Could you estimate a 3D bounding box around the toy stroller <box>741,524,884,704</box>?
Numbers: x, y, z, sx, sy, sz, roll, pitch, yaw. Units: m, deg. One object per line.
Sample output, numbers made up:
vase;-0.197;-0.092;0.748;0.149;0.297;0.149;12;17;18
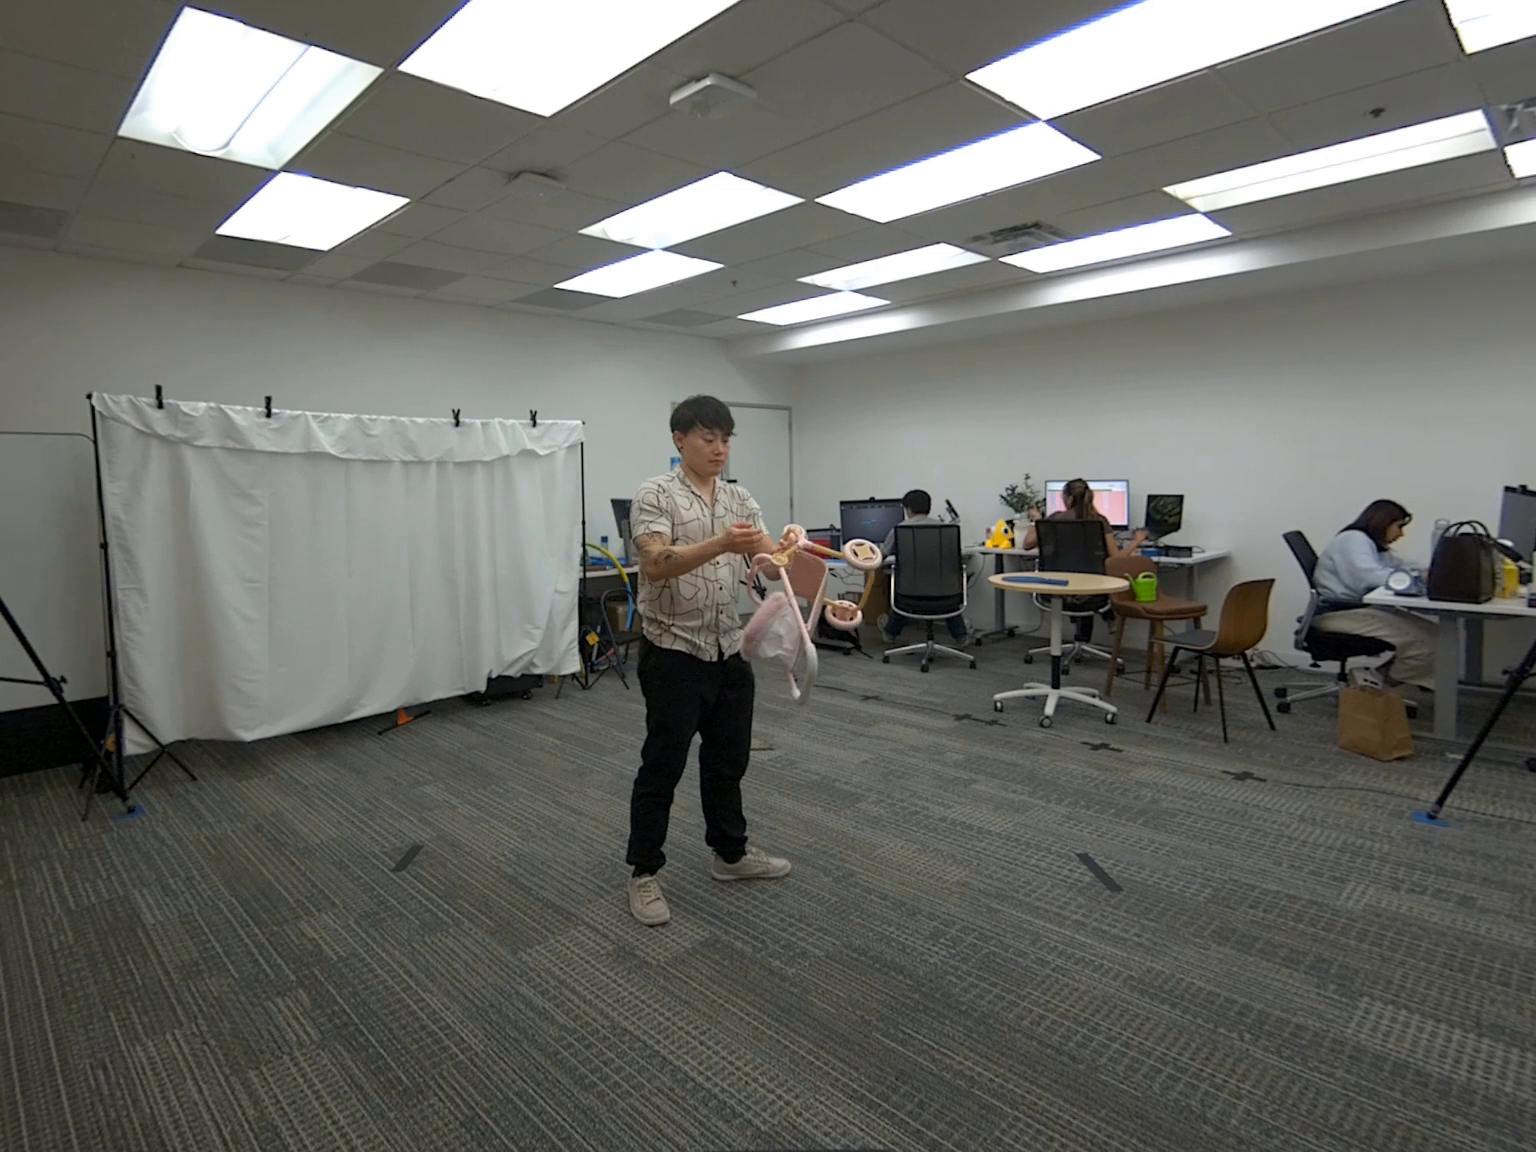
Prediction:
toy stroller;0.076;0.063;2.388;0.347;0.276;0.536;29;47;11
